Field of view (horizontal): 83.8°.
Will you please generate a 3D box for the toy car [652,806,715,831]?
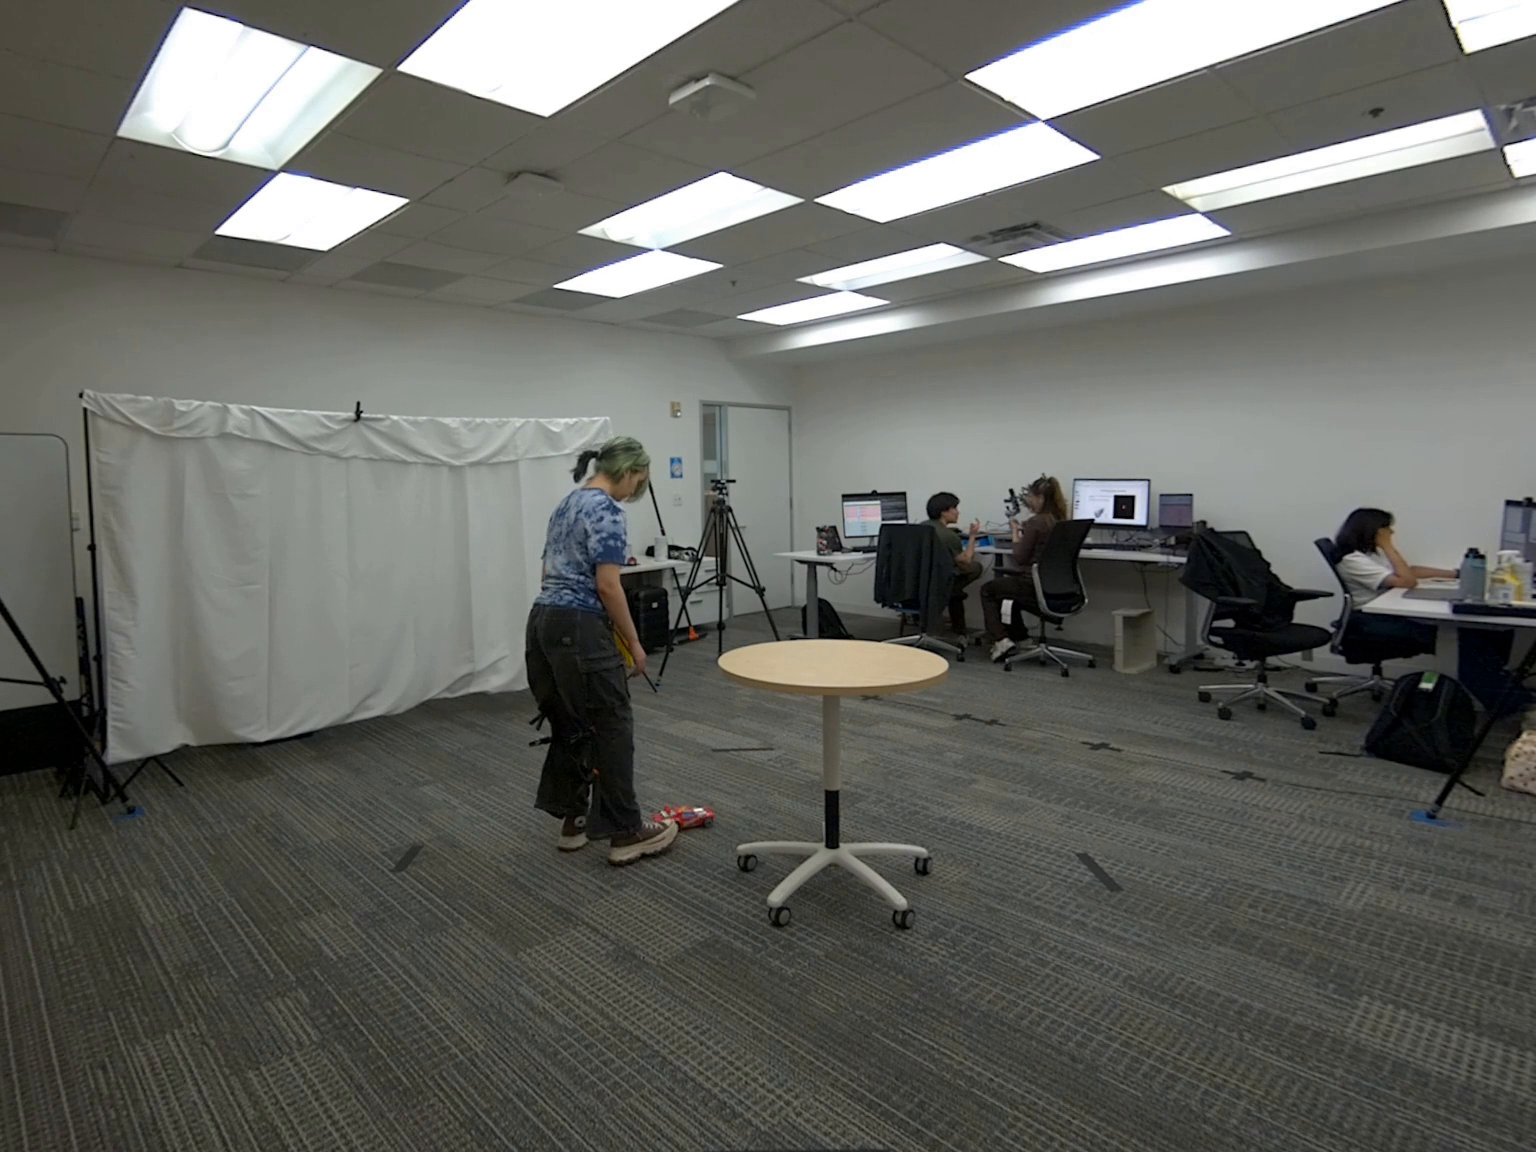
[{"bbox_3d":[-0.350,0.981,3.456,0.249,0.083,0.133,8,1,-23],"label":"toy car"}]
